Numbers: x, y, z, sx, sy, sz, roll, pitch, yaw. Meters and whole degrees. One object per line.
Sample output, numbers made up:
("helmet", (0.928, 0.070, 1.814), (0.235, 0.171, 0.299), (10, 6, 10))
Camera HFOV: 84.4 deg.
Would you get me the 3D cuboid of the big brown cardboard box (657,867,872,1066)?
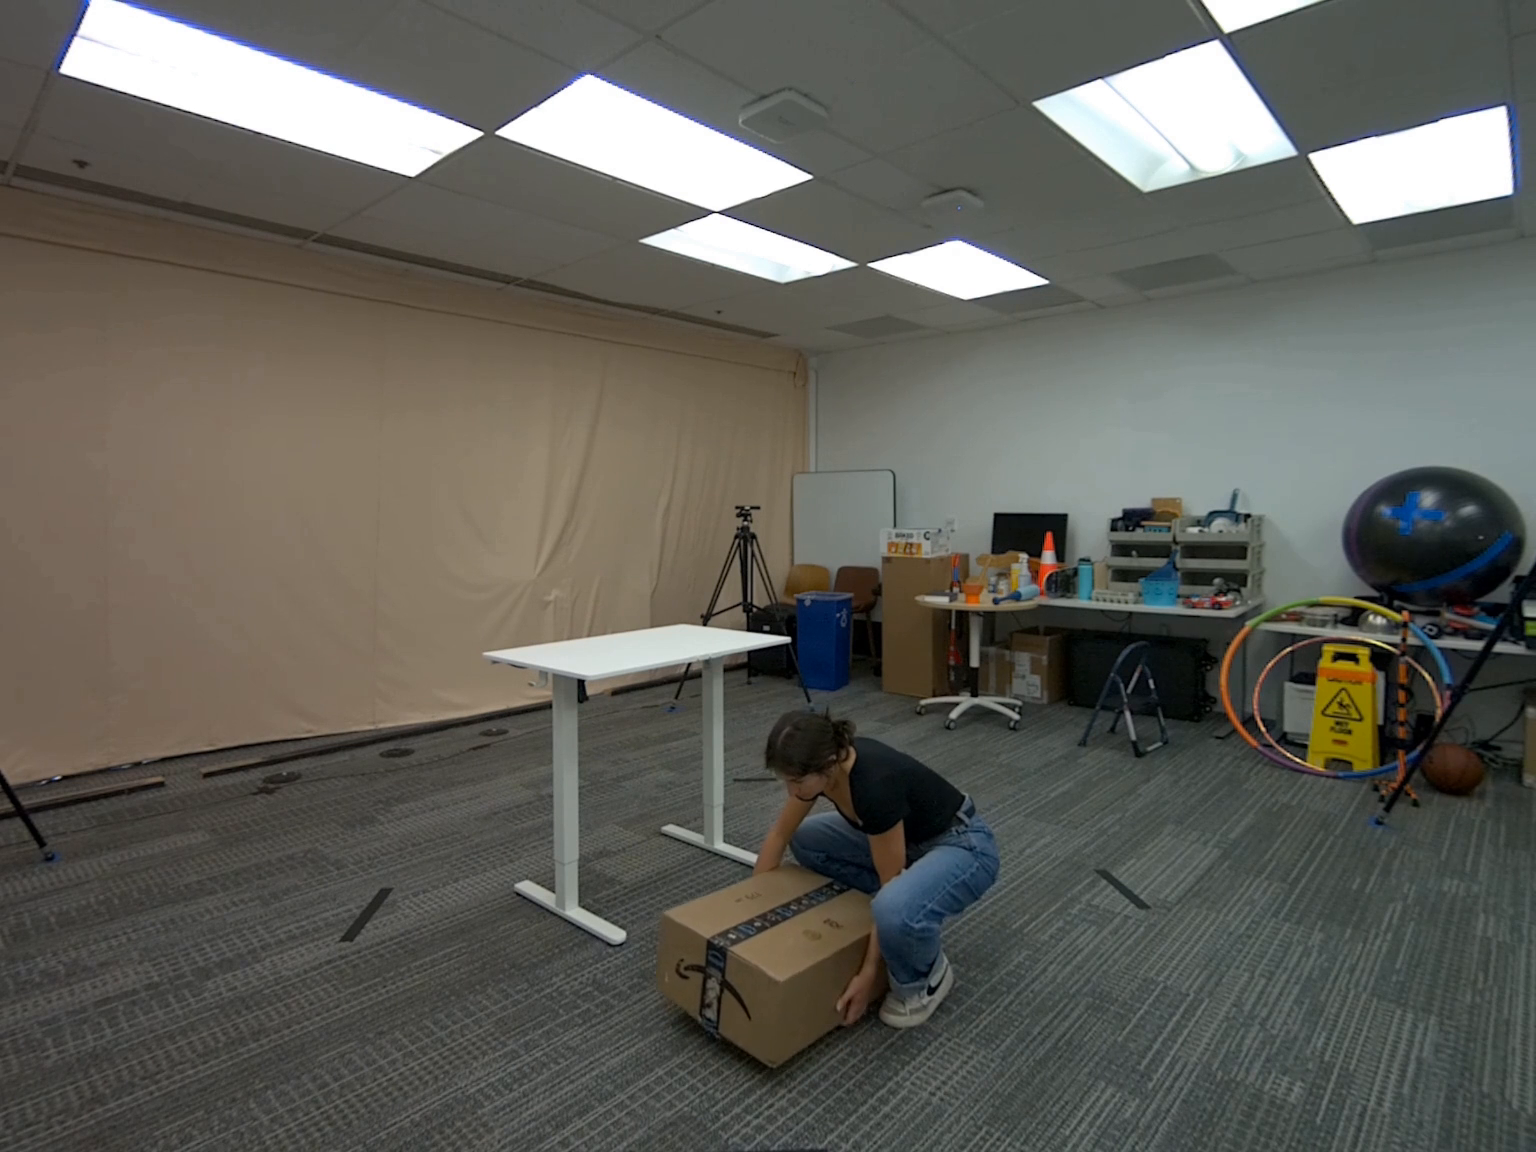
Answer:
("big brown cardboard box", (0.043, 1.039, 2.322), (0.432, 0.232, 0.570), (8, 6, 42))
